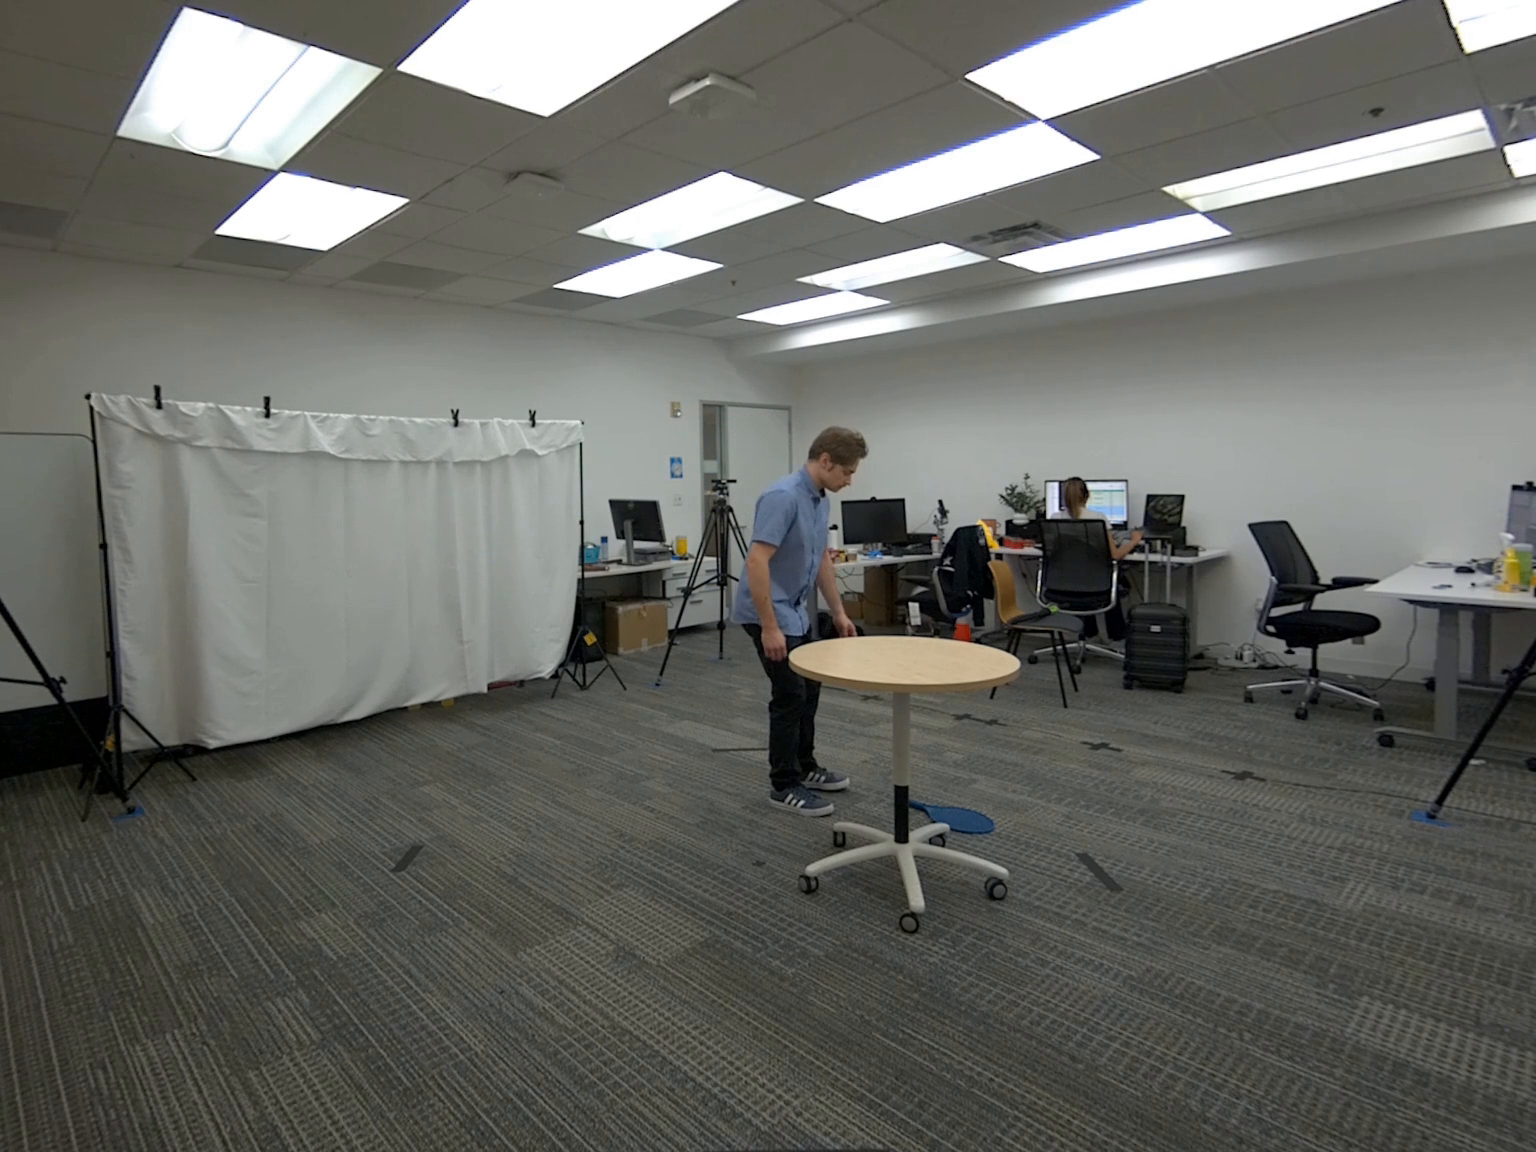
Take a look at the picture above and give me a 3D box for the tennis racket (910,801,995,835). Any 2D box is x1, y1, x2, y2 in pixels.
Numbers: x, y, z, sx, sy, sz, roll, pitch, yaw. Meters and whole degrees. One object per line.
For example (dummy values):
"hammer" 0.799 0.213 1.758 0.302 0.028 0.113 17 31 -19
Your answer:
"tennis racket" 0.725 0.976 3.518 0.208 0.031 0.447 -7 10 -43
